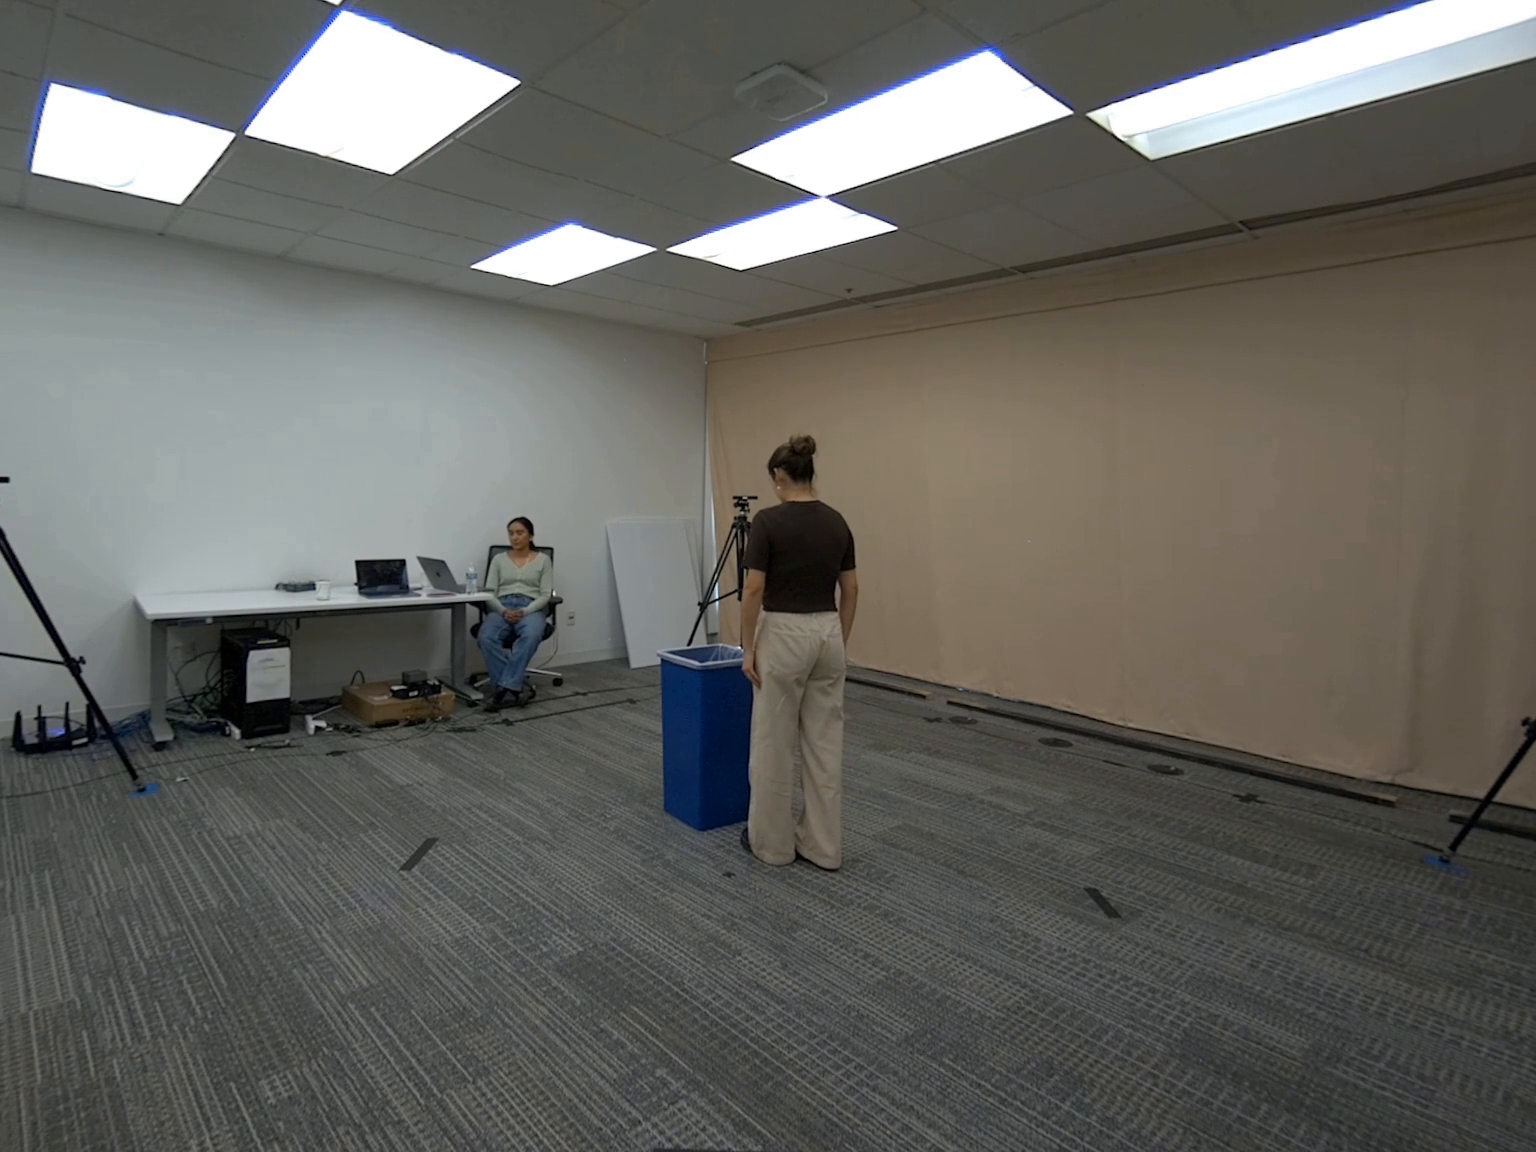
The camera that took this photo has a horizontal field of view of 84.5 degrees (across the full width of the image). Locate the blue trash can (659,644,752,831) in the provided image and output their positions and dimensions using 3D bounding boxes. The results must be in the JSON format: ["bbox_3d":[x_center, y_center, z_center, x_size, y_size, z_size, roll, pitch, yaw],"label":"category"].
[{"bbox_3d":[-0.266,0.691,3.692,0.369,0.712,0.383,-2,5,-38],"label":"blue trash can"}]
